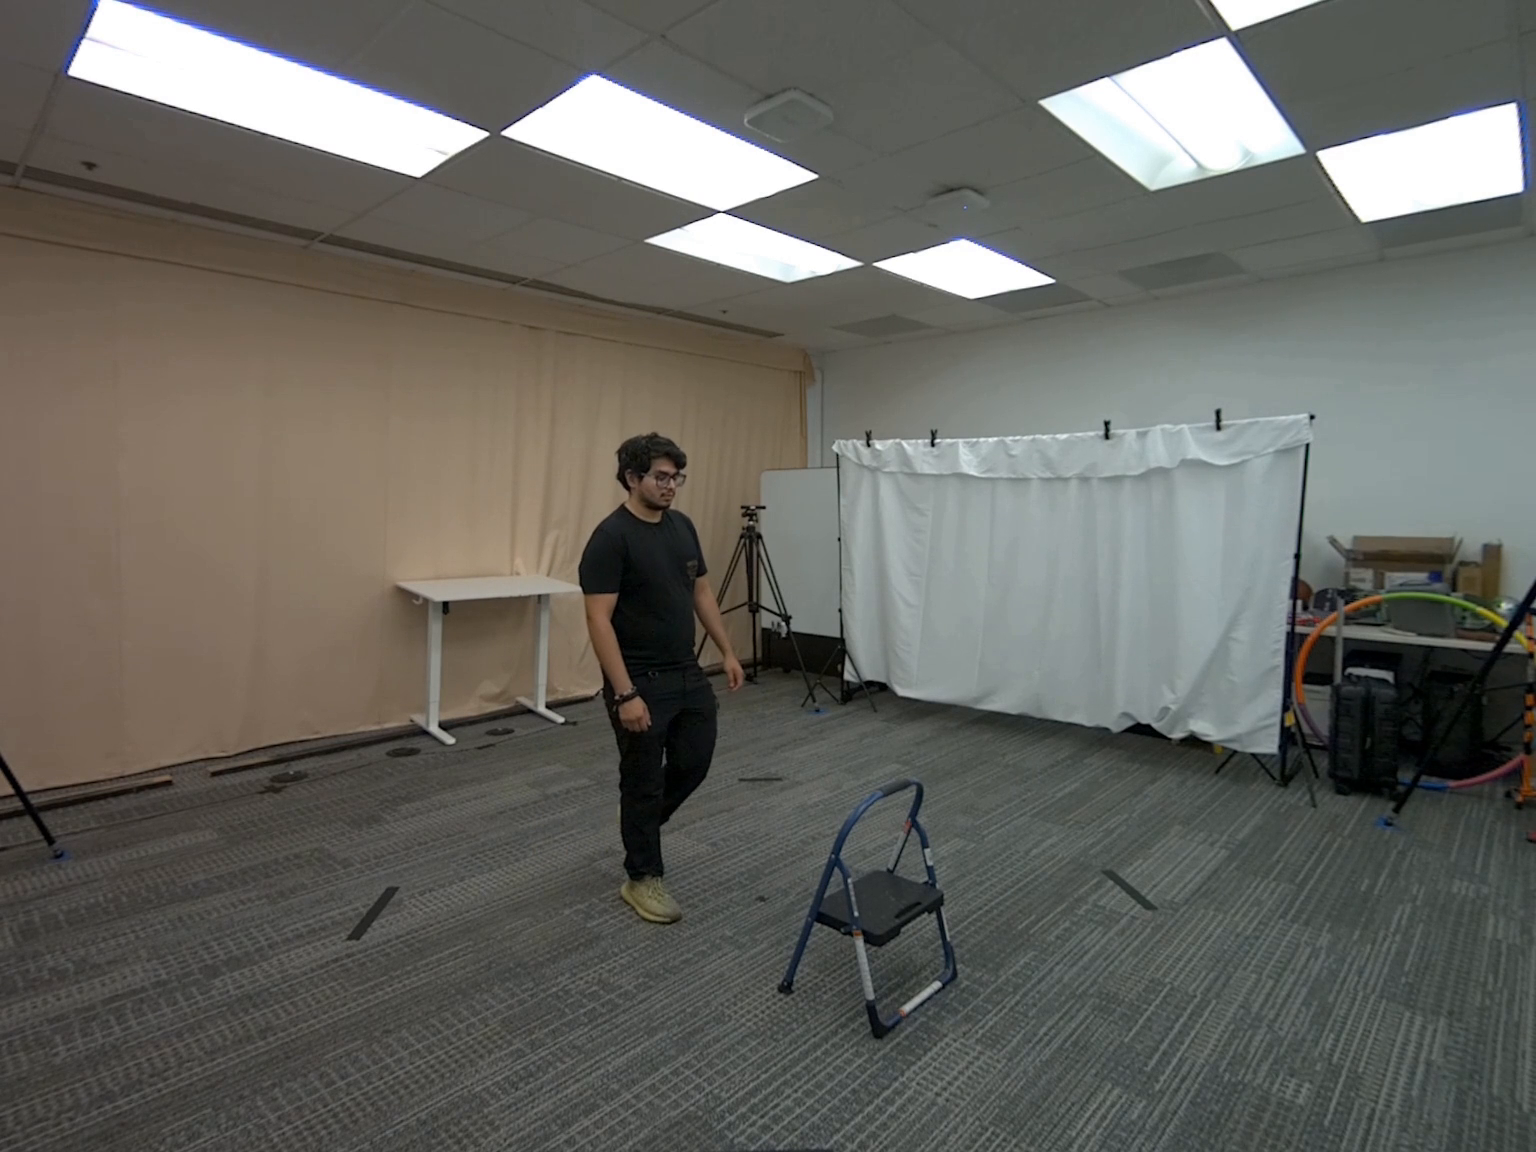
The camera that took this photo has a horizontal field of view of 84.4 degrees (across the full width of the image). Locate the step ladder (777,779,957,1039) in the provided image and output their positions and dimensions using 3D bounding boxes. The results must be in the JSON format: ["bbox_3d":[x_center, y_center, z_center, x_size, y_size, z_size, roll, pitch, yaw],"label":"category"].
[{"bbox_3d":[0.300,0.887,2.435,0.361,0.604,0.417,3,5,42],"label":"step ladder"}]
